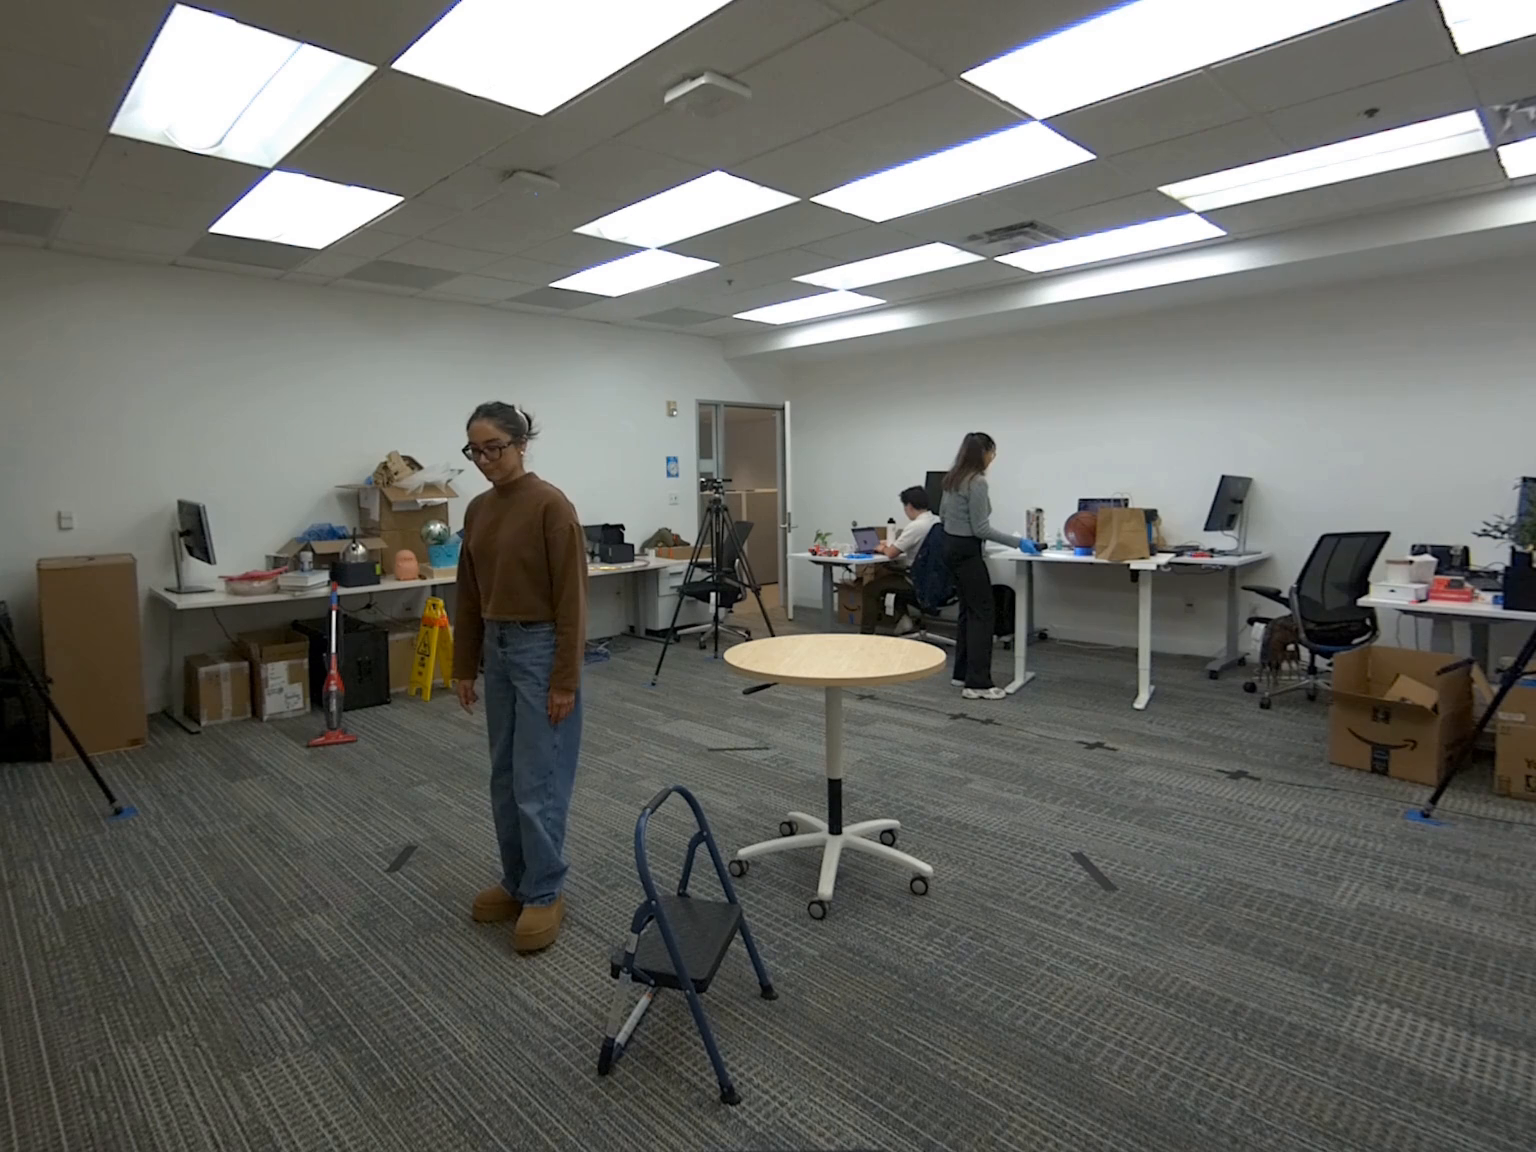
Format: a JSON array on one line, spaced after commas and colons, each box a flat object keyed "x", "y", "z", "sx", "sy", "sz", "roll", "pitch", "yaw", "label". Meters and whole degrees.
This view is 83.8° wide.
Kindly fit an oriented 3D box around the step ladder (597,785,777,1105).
[{"x": -0.190, "y": 0.859, "z": 2.143, "sx": 0.354, "sy": 0.604, "sz": 0.426, "roll": 0, "pitch": 5, "yaw": 14, "label": "step ladder"}]
